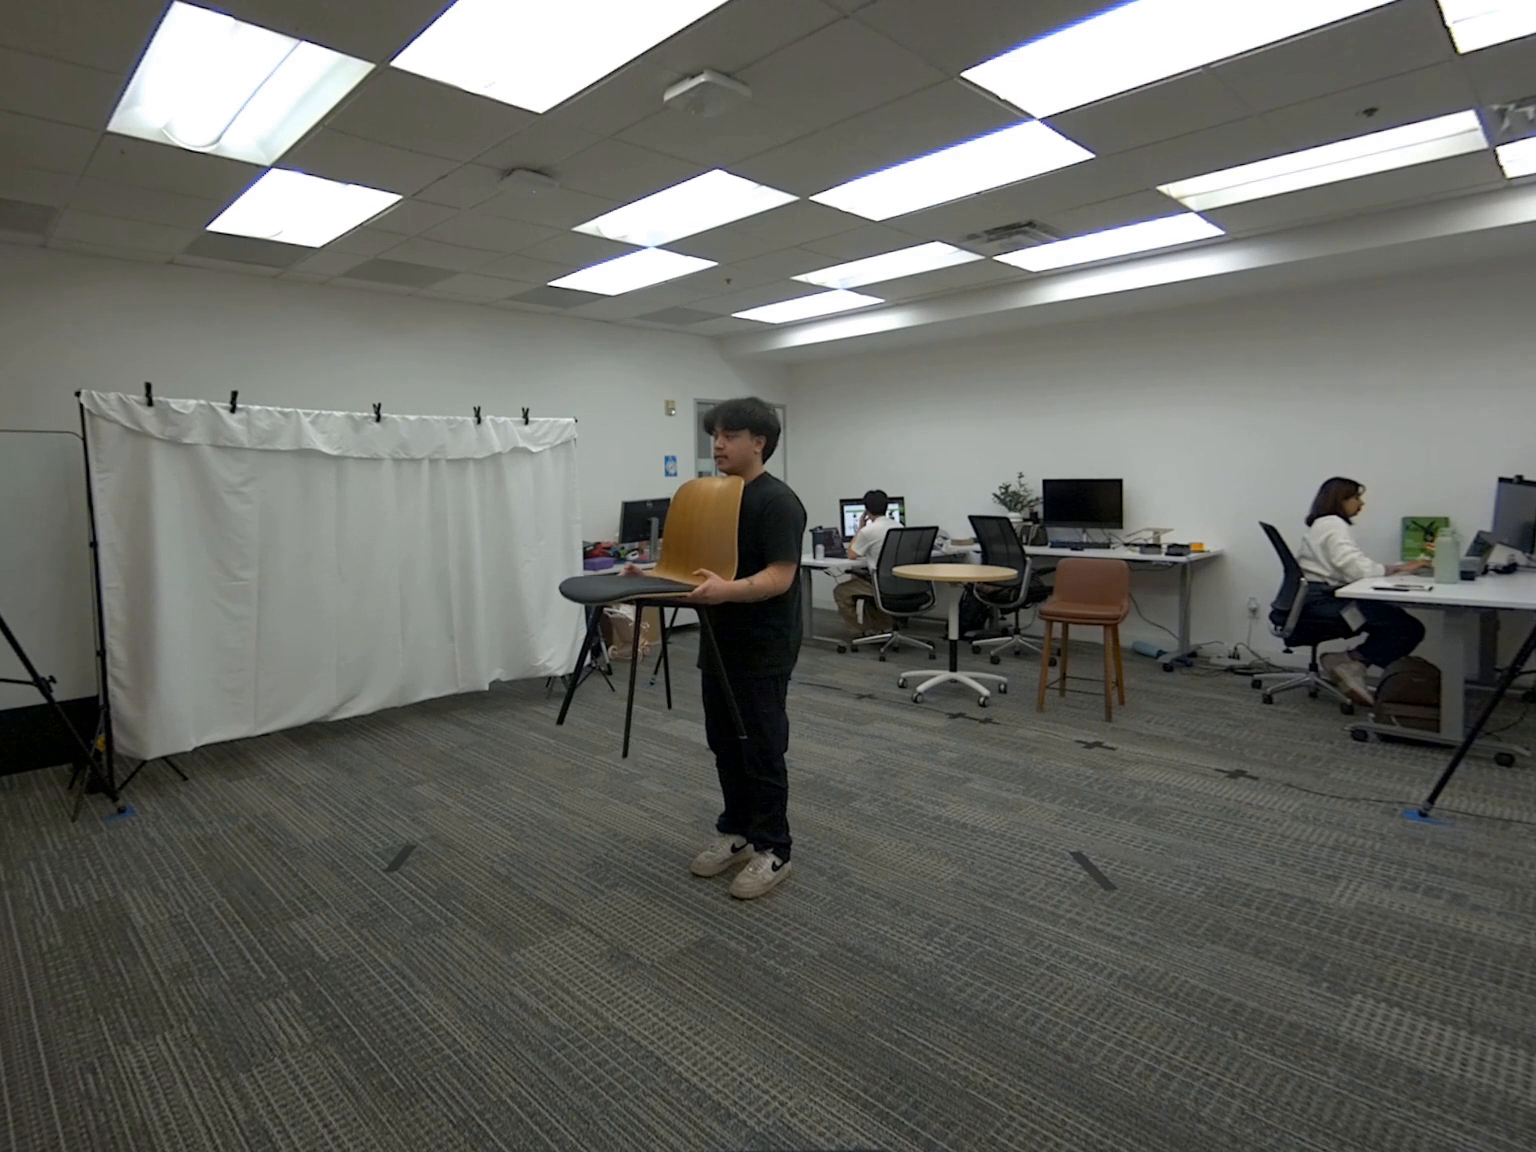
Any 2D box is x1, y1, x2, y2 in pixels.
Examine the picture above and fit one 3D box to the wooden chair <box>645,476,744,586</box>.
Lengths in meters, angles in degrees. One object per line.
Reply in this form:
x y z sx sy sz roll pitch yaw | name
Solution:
-0.372 0.089 2.769 0.507 0.878 0.492 5 0 -38 | wooden chair
